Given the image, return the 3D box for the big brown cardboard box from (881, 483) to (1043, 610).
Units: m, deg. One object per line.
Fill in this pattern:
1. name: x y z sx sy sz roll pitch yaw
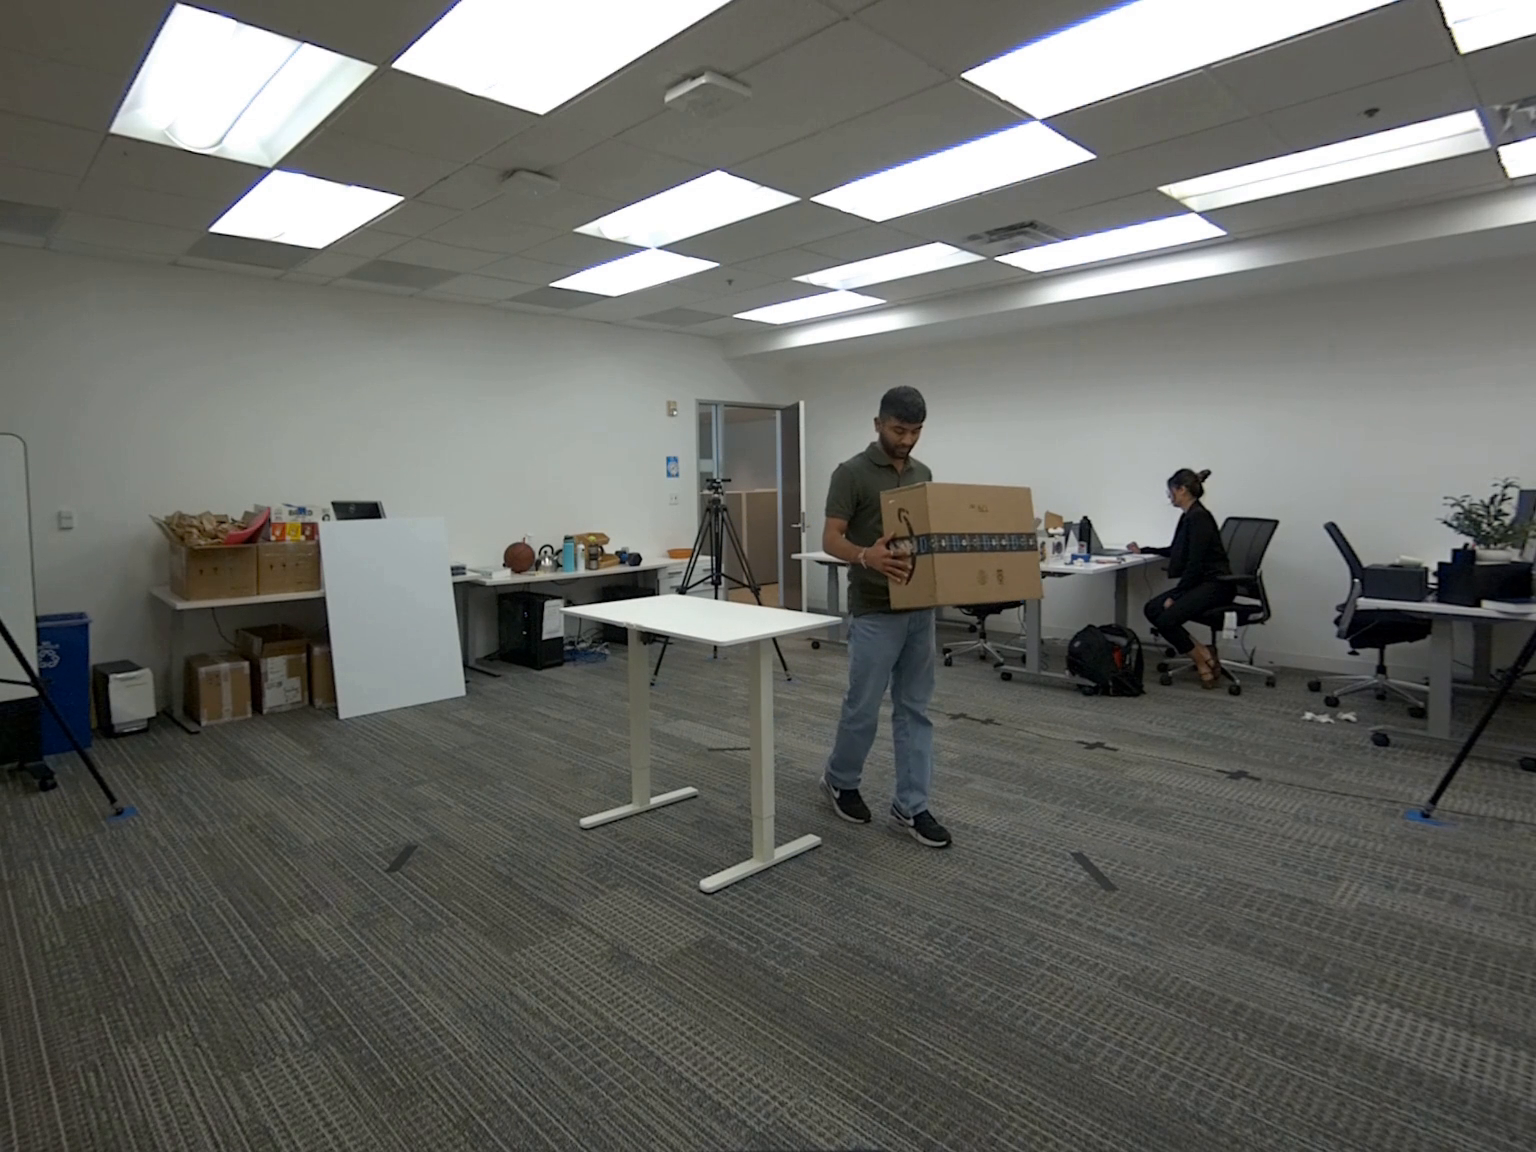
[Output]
1. big brown cardboard box: 0.688 -0.104 3.069 0.573 0.420 0.238 -1 -6 -33
